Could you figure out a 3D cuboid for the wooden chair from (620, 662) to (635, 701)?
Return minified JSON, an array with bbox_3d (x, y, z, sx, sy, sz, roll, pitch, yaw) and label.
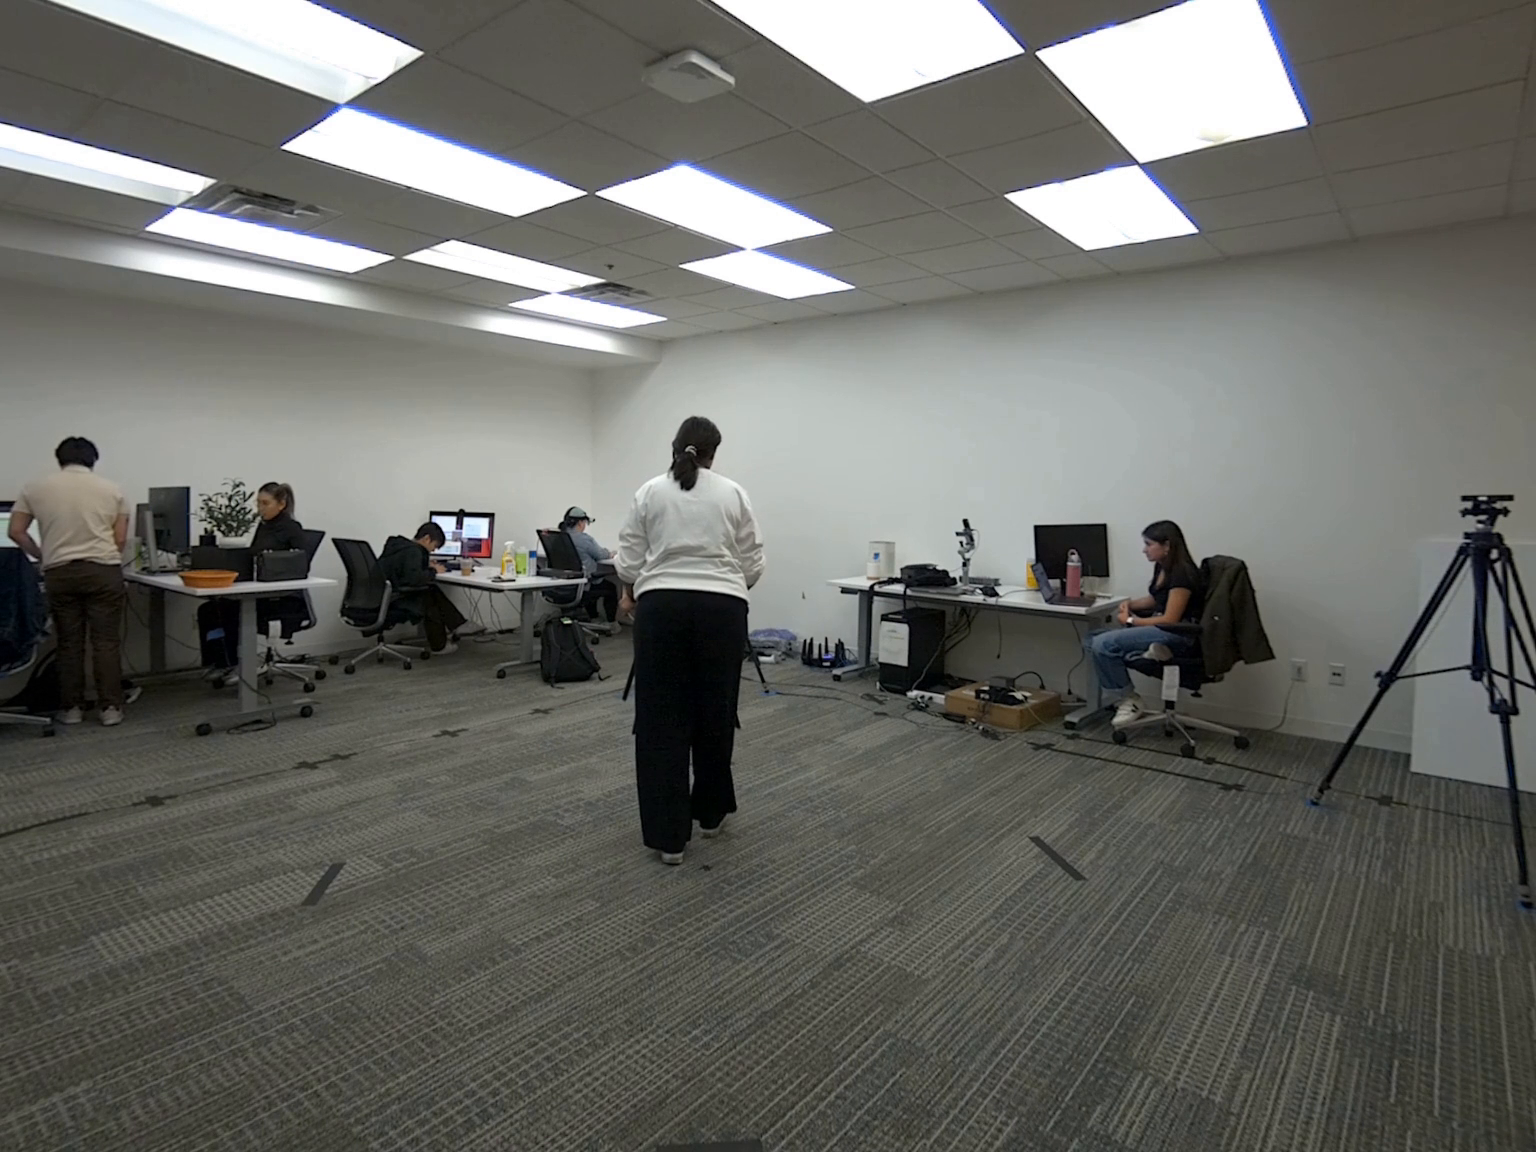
[{"bbox_3d":[-0.376,0.183,3.662,0.472,0.874,0.532,-1,4,-14],"label":"wooden chair"}]
